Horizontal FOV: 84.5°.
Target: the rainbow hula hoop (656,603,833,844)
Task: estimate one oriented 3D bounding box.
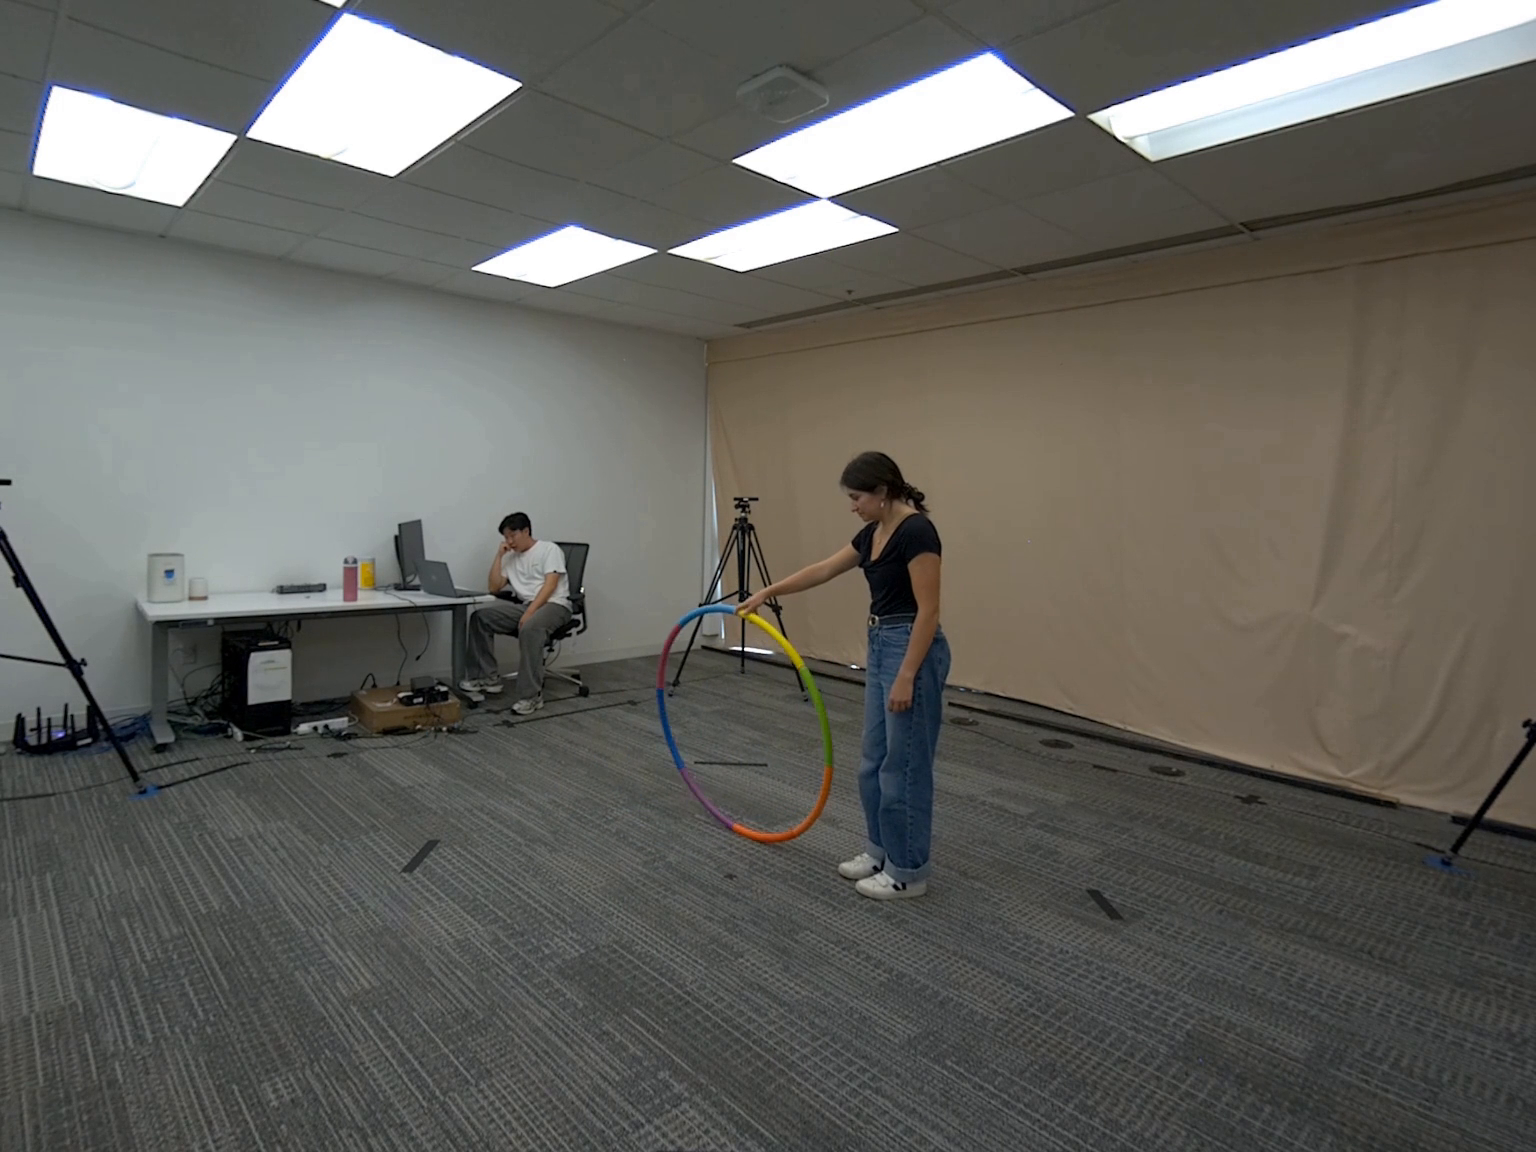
[{"bbox_3d":[-0.137,0.604,3.417,1.004,0.971,0.035,5,13,45],"label":"rainbow hula hoop"}]
